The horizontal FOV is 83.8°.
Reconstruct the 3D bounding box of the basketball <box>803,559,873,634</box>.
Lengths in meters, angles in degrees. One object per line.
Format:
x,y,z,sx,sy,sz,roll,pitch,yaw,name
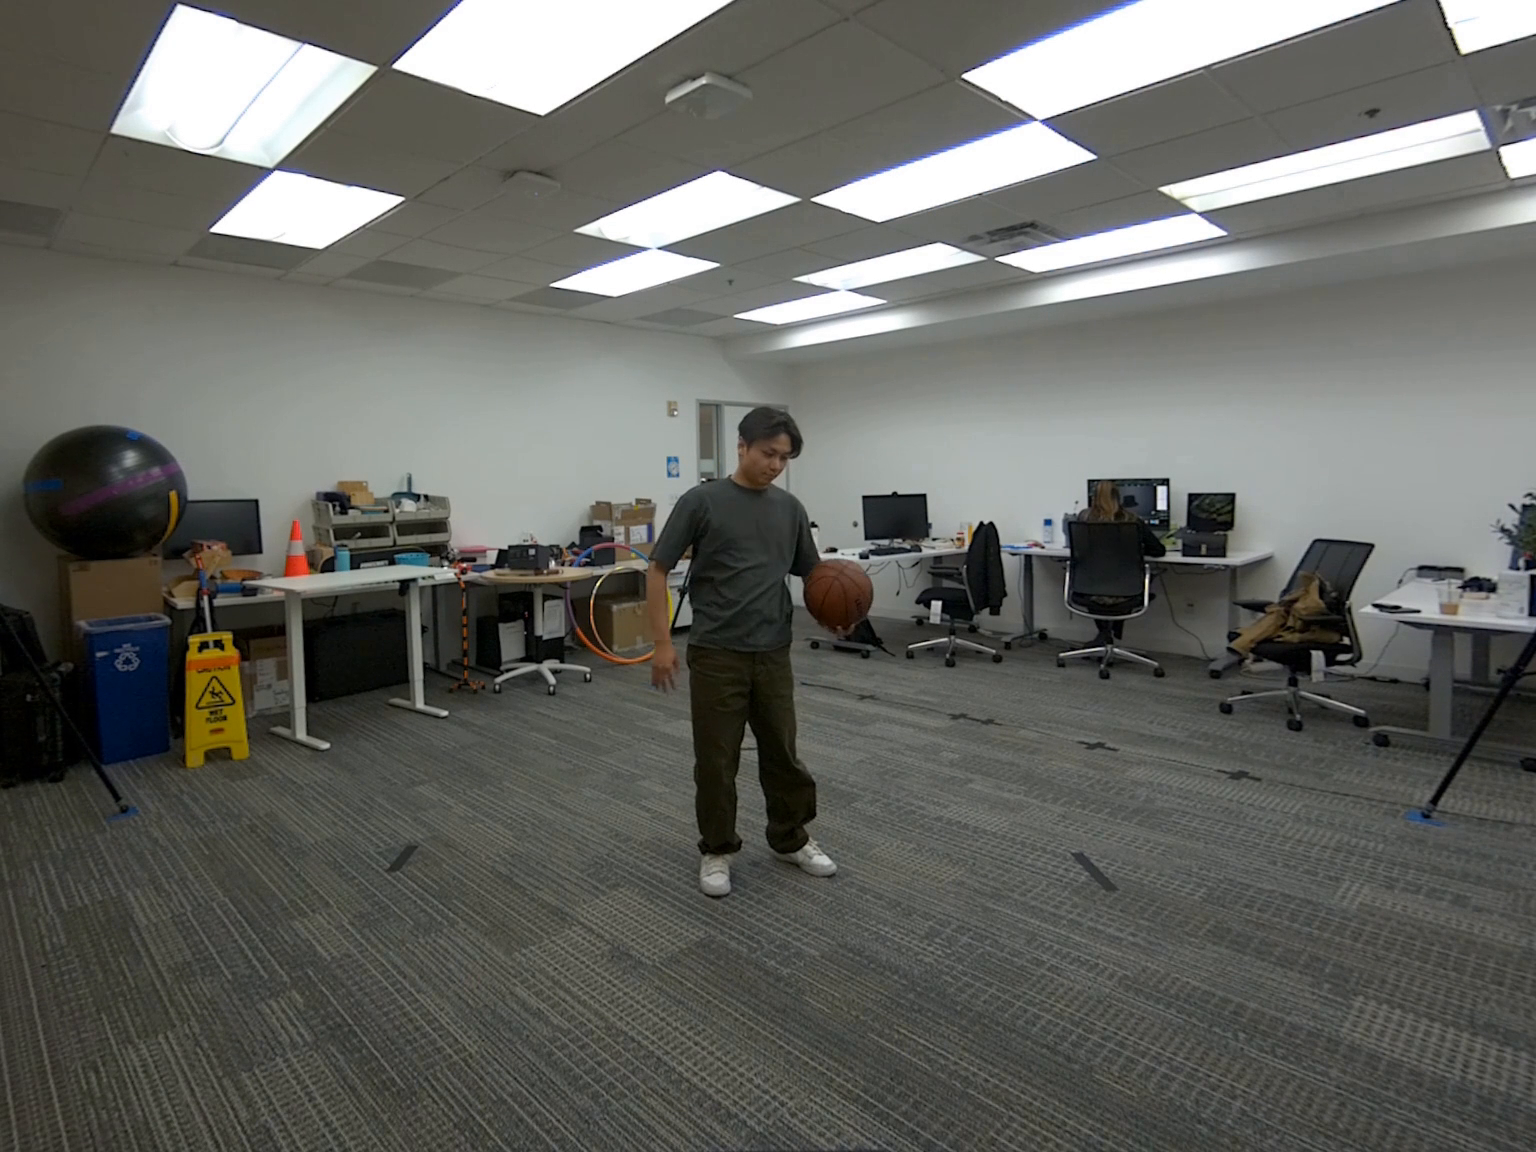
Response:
0.219,0.055,2.912,0.236,0.235,0.237,-1,5,-2,basketball
